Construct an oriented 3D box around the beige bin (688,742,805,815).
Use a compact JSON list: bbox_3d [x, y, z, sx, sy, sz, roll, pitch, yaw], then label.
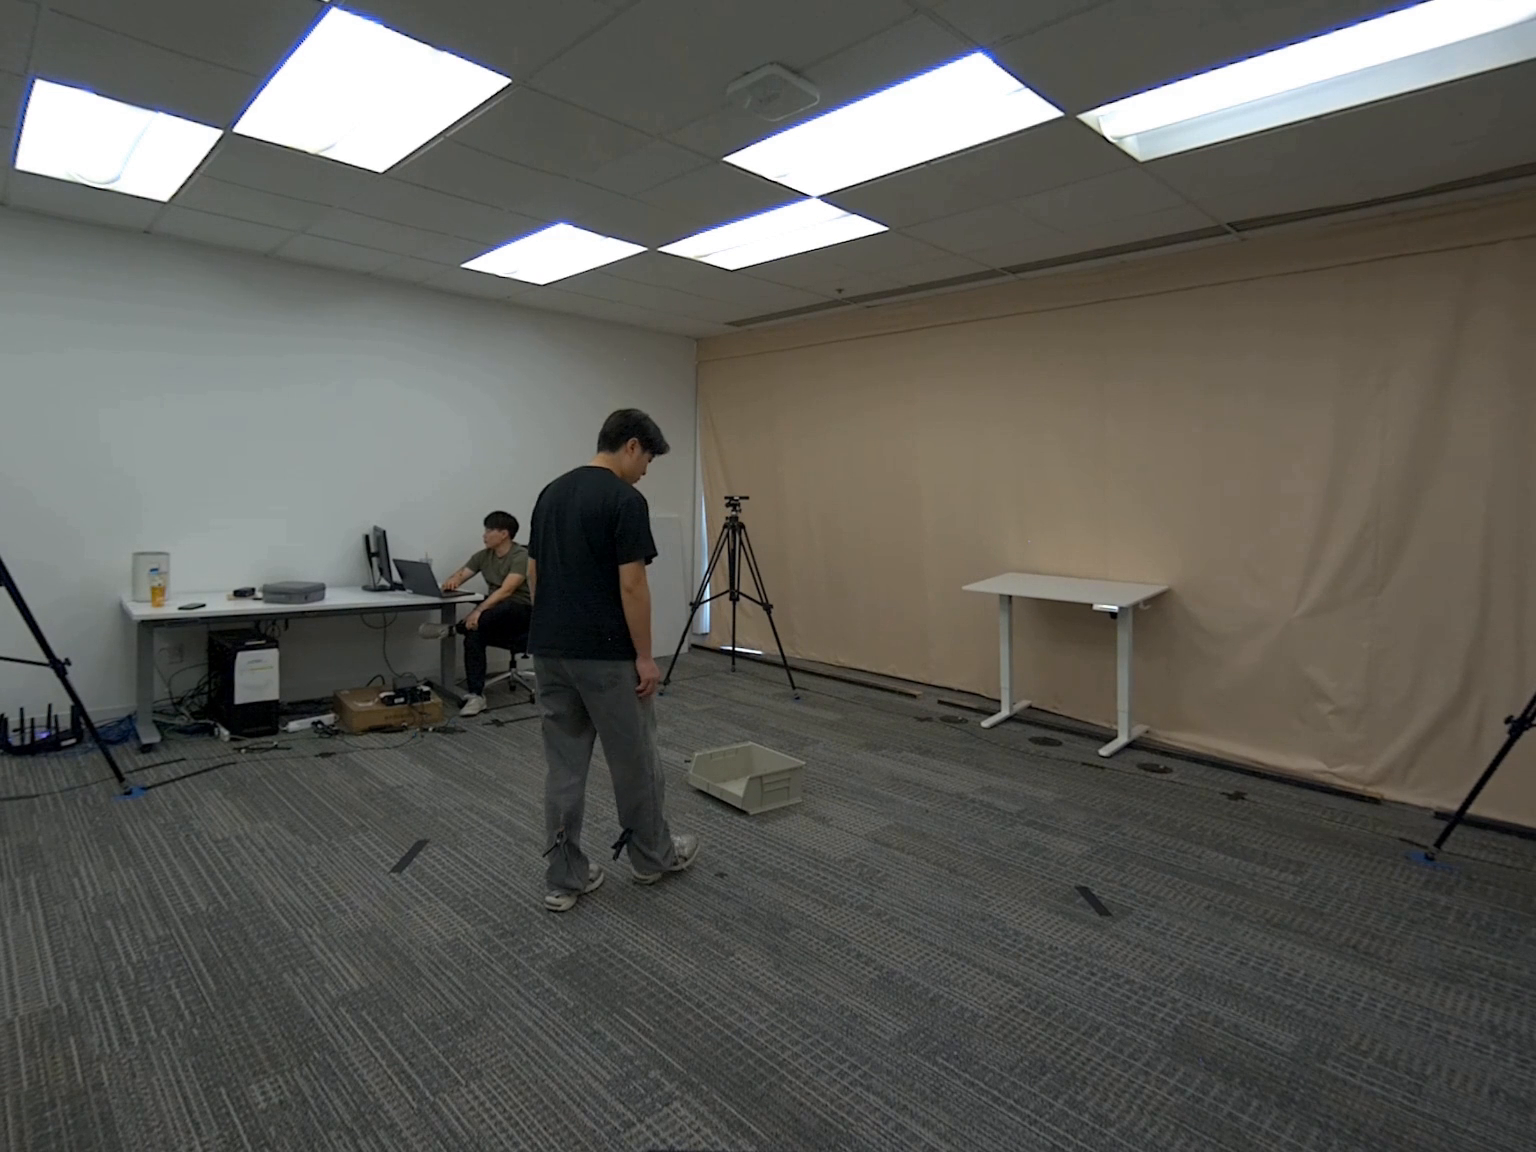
[{"bbox_3d":[-0.110,0.943,3.949,0.369,0.188,0.433,-1,4,-39],"label":"beige bin"}]
